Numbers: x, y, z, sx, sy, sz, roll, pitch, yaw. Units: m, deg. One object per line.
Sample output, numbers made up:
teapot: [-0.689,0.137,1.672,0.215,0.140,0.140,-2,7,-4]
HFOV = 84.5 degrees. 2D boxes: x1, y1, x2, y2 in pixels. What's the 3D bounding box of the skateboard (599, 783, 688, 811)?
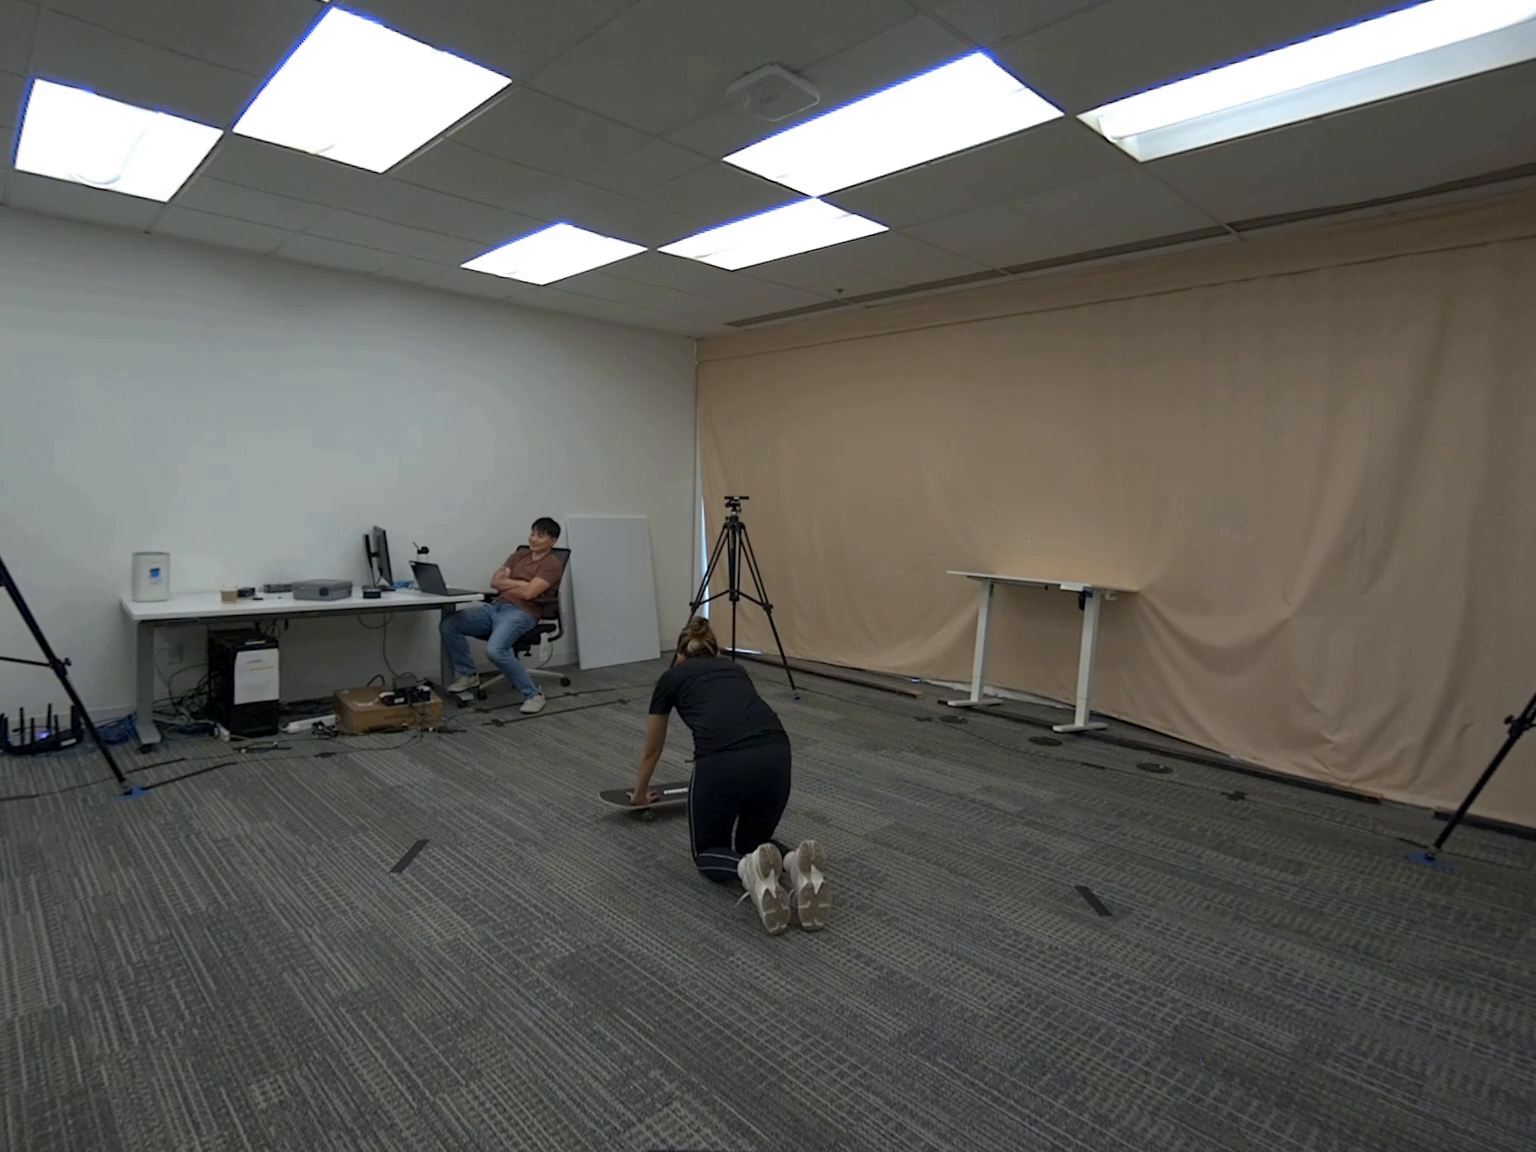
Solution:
skateboard: [-0.373,0.987,3.749,0.772,0.110,0.197,-1,6,-24]
